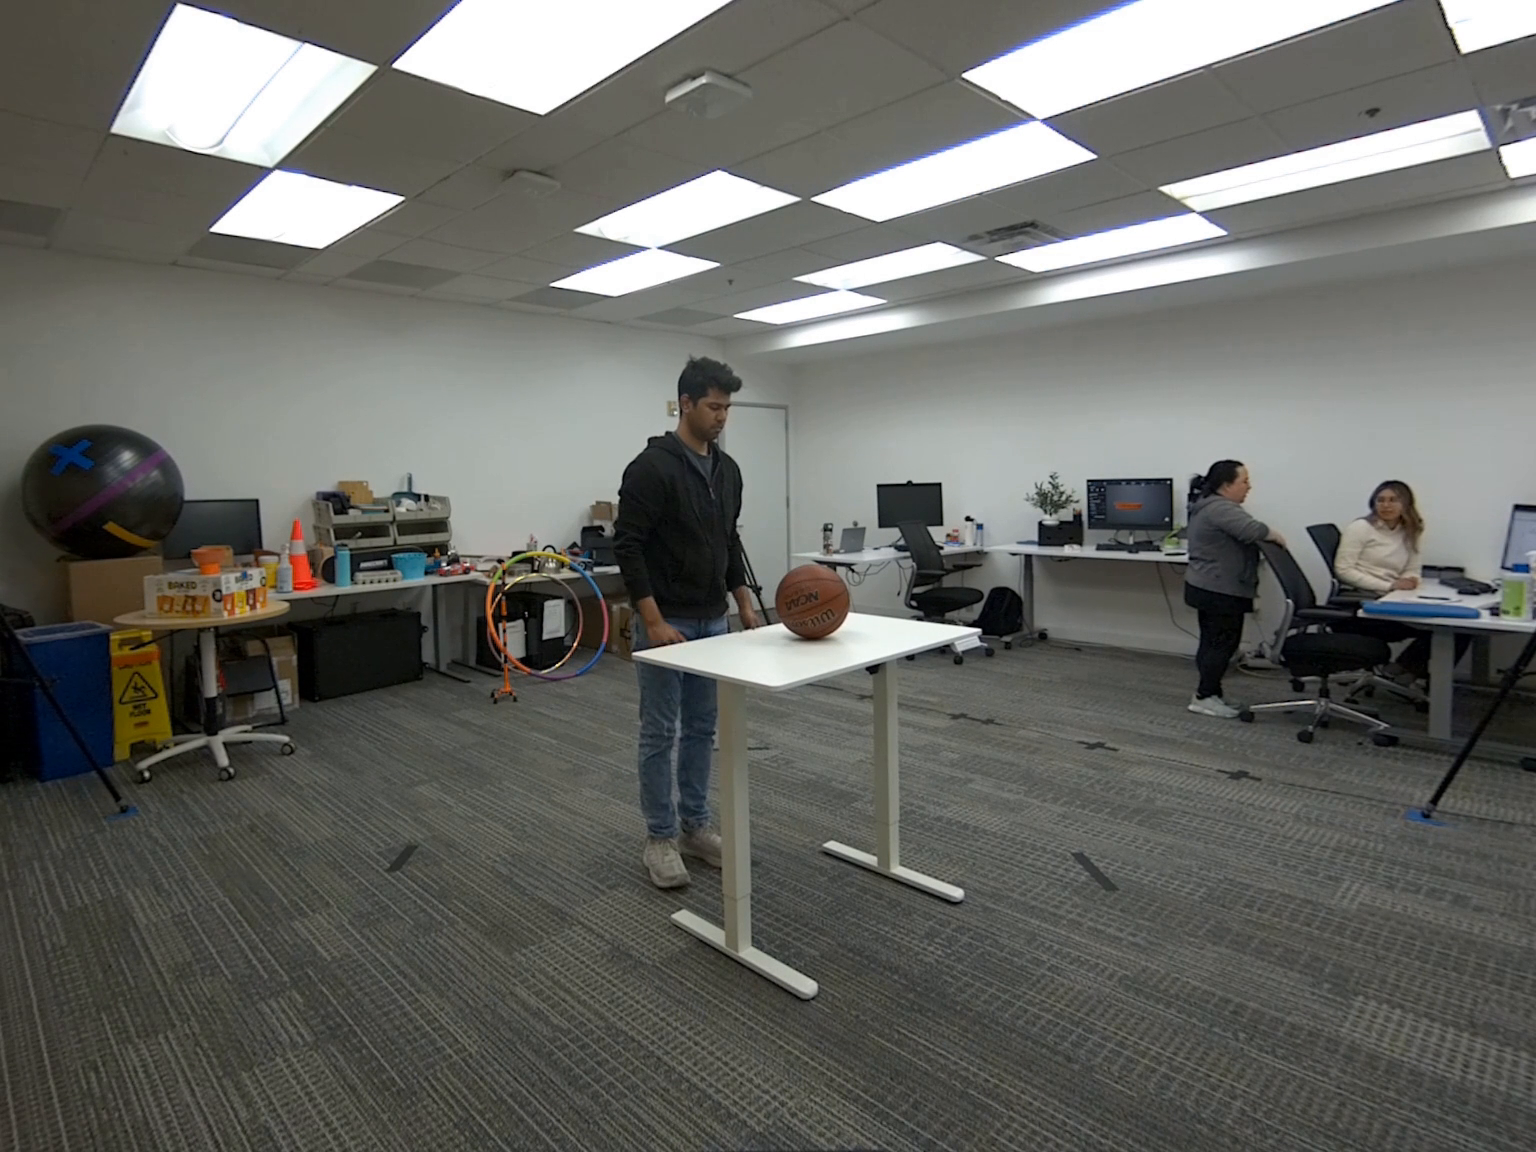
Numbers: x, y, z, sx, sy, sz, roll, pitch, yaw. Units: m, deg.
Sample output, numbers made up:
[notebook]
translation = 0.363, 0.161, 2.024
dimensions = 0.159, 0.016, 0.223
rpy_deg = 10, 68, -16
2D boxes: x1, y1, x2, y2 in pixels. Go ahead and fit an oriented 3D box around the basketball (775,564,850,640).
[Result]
[basketball]
translation = 0.150, 0.084, 2.737
dimensions = 0.236, 0.235, 0.237
rpy_deg = -1, 5, -2
